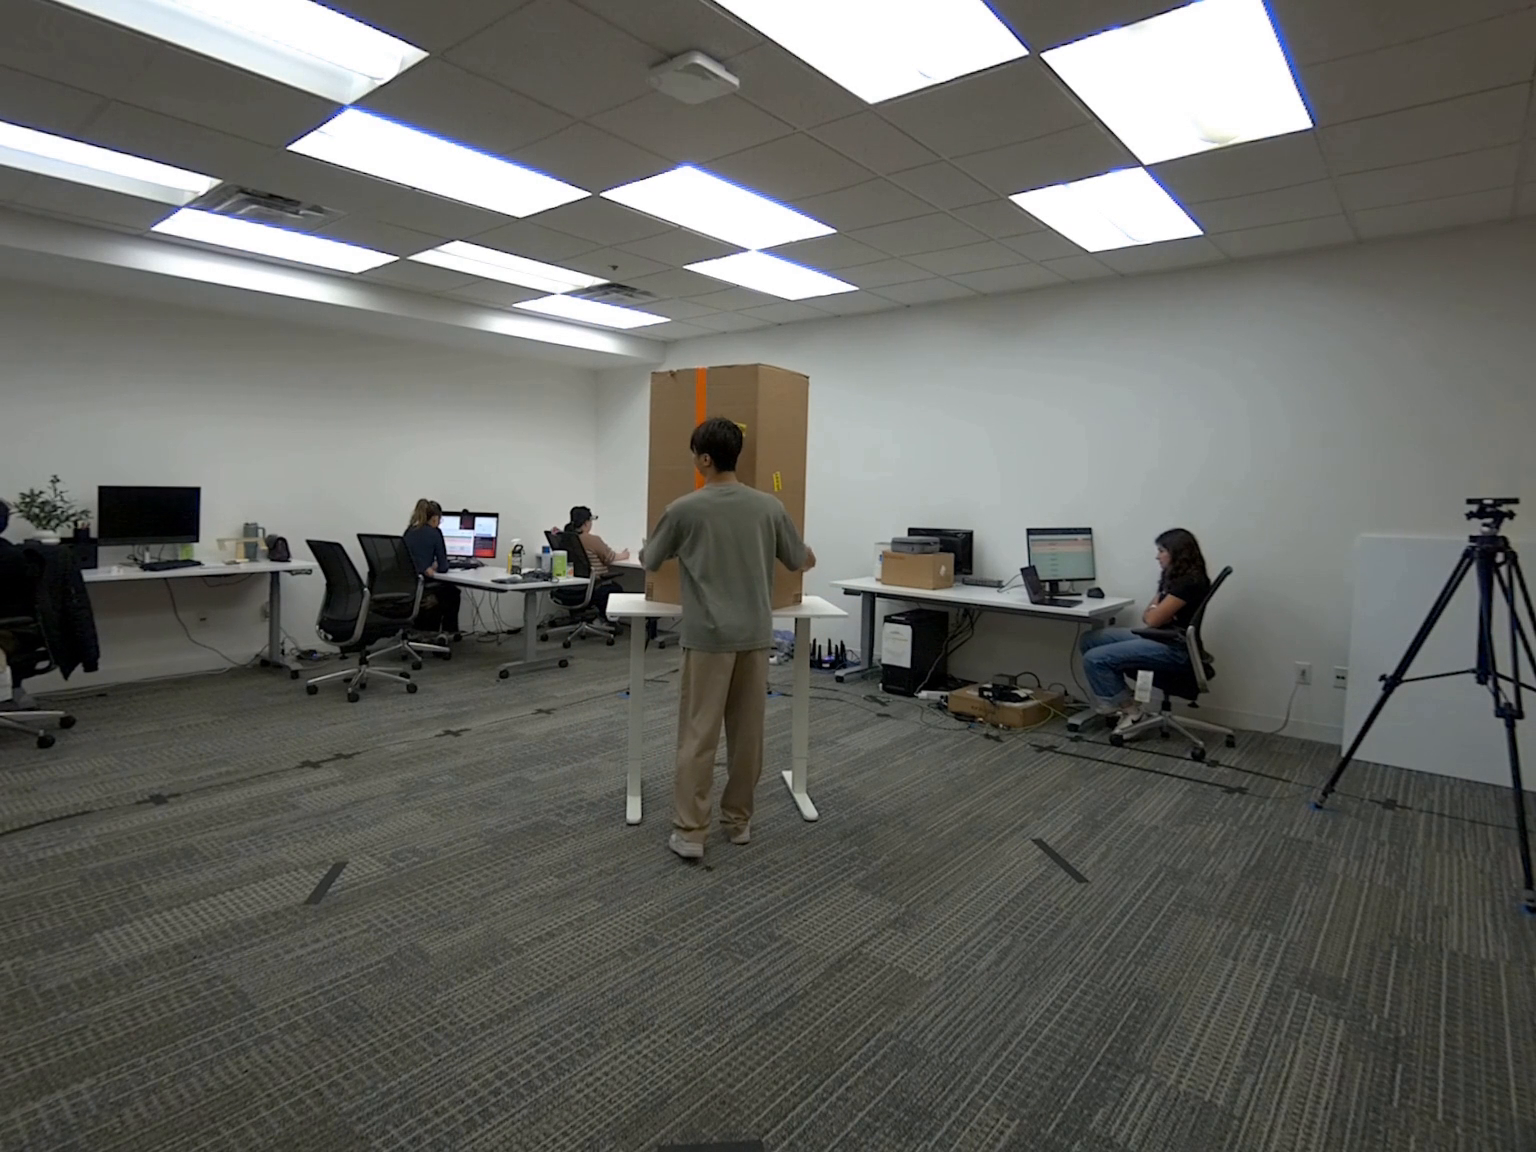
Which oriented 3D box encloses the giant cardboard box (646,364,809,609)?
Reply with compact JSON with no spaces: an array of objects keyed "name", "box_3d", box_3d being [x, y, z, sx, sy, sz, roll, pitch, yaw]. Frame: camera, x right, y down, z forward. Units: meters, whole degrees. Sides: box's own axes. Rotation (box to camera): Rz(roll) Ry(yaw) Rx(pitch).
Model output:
[{"name":"giant cardboard box","box_3d":[-0.198,-0.392,3.791,0.596,1.022,0.414,4,4,33]}]
